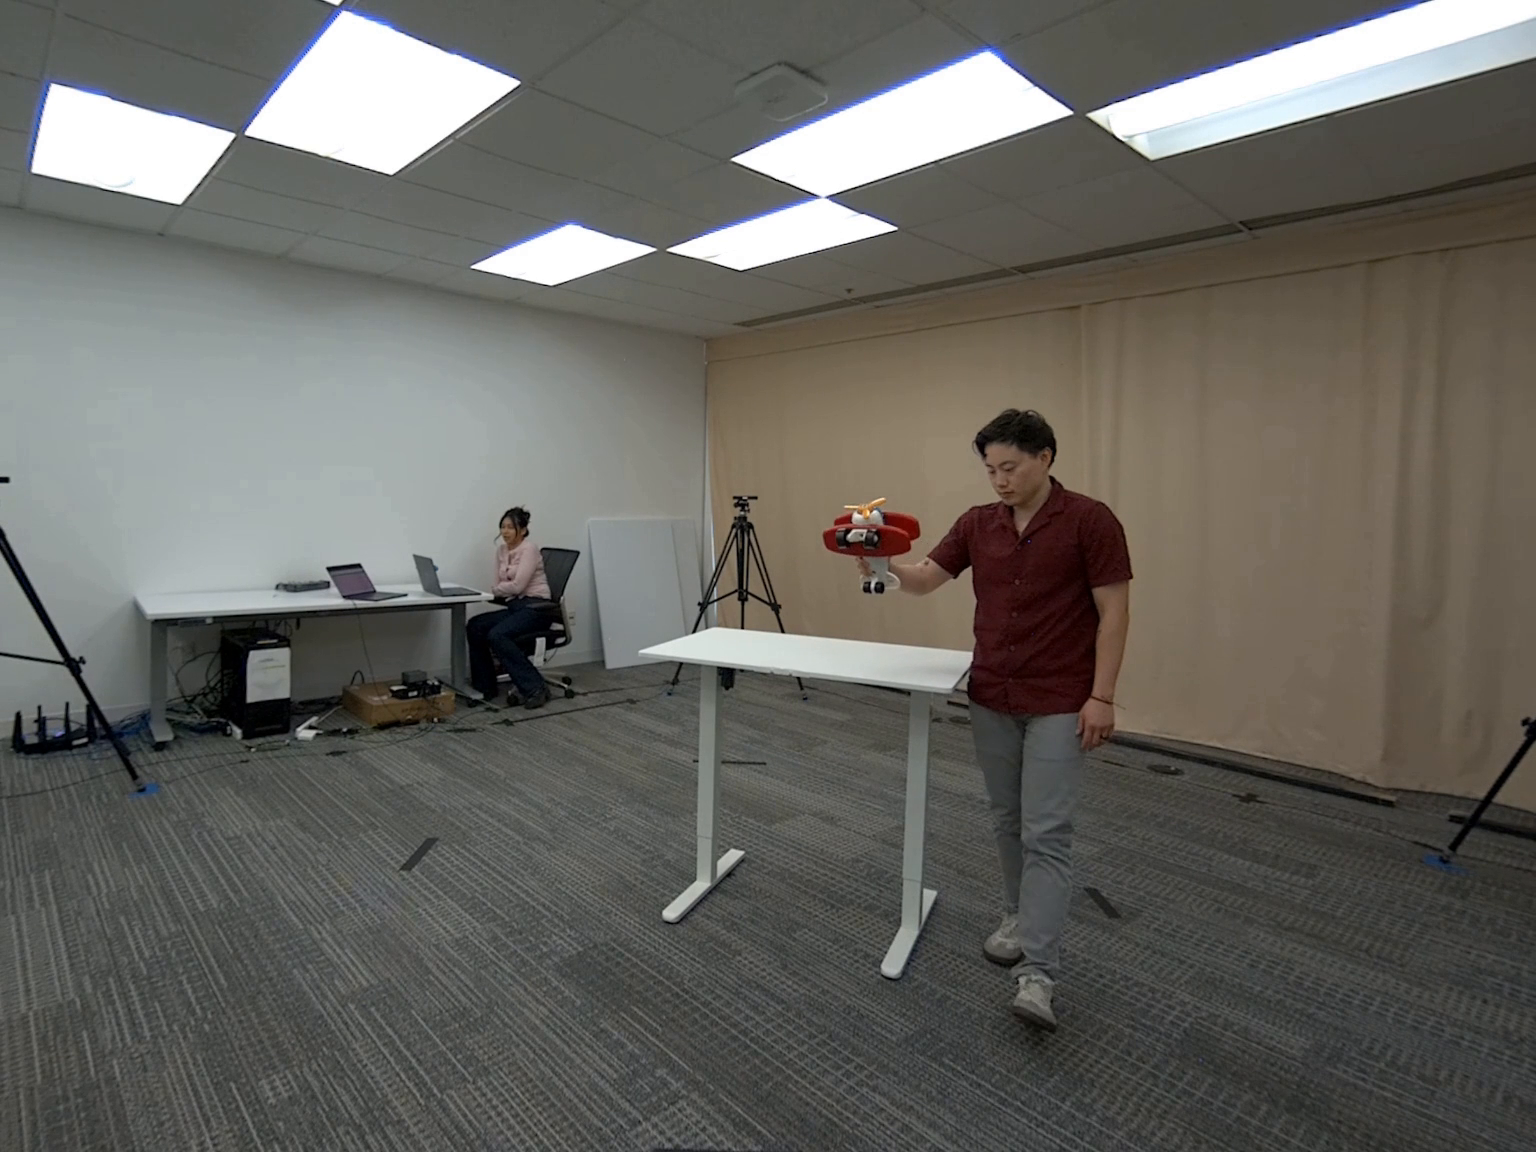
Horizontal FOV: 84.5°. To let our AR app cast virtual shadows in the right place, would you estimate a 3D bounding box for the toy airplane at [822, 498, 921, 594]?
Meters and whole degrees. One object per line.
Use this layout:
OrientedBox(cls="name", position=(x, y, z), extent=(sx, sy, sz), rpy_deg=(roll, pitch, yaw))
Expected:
OrientedBox(cls="toy airplane", position=(0.268, -0.076, 2.340), extent=(0.254, 0.254, 0.157), rpy_deg=(22, 50, 11))
